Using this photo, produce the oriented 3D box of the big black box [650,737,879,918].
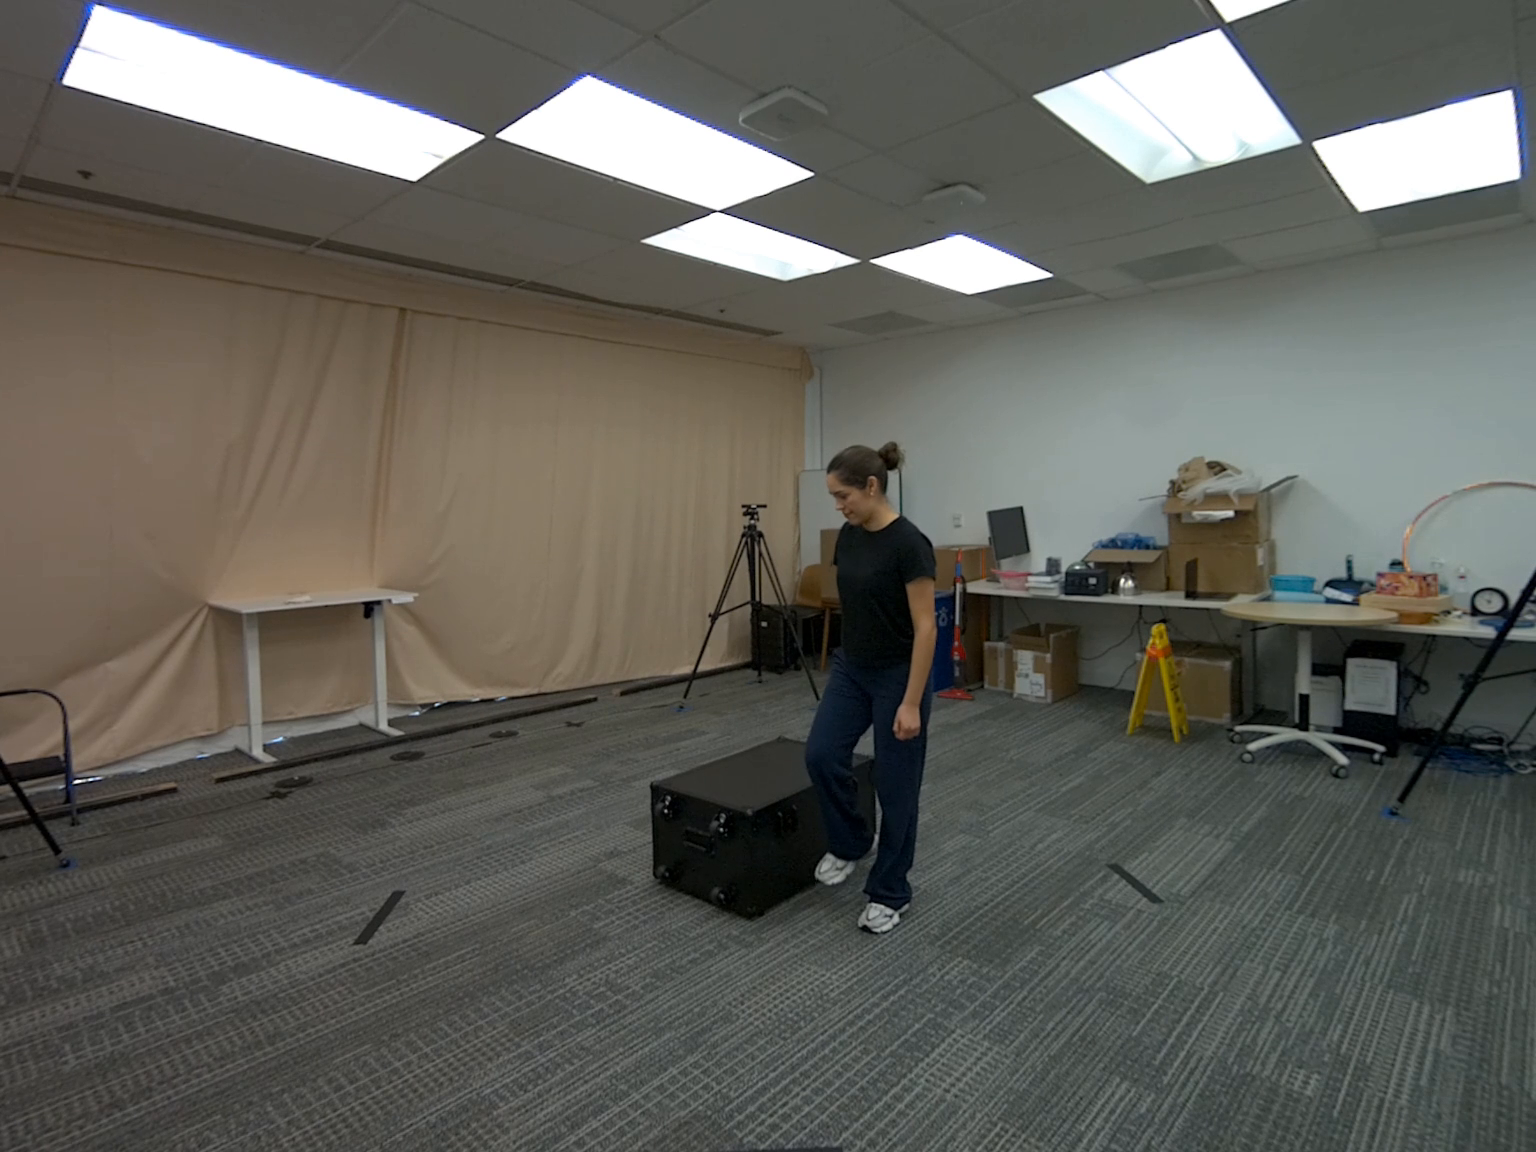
[{"bbox_3d":[-0.010,0.929,3.213,0.538,0.395,0.836,3,6,40],"label":"big black box"}]
